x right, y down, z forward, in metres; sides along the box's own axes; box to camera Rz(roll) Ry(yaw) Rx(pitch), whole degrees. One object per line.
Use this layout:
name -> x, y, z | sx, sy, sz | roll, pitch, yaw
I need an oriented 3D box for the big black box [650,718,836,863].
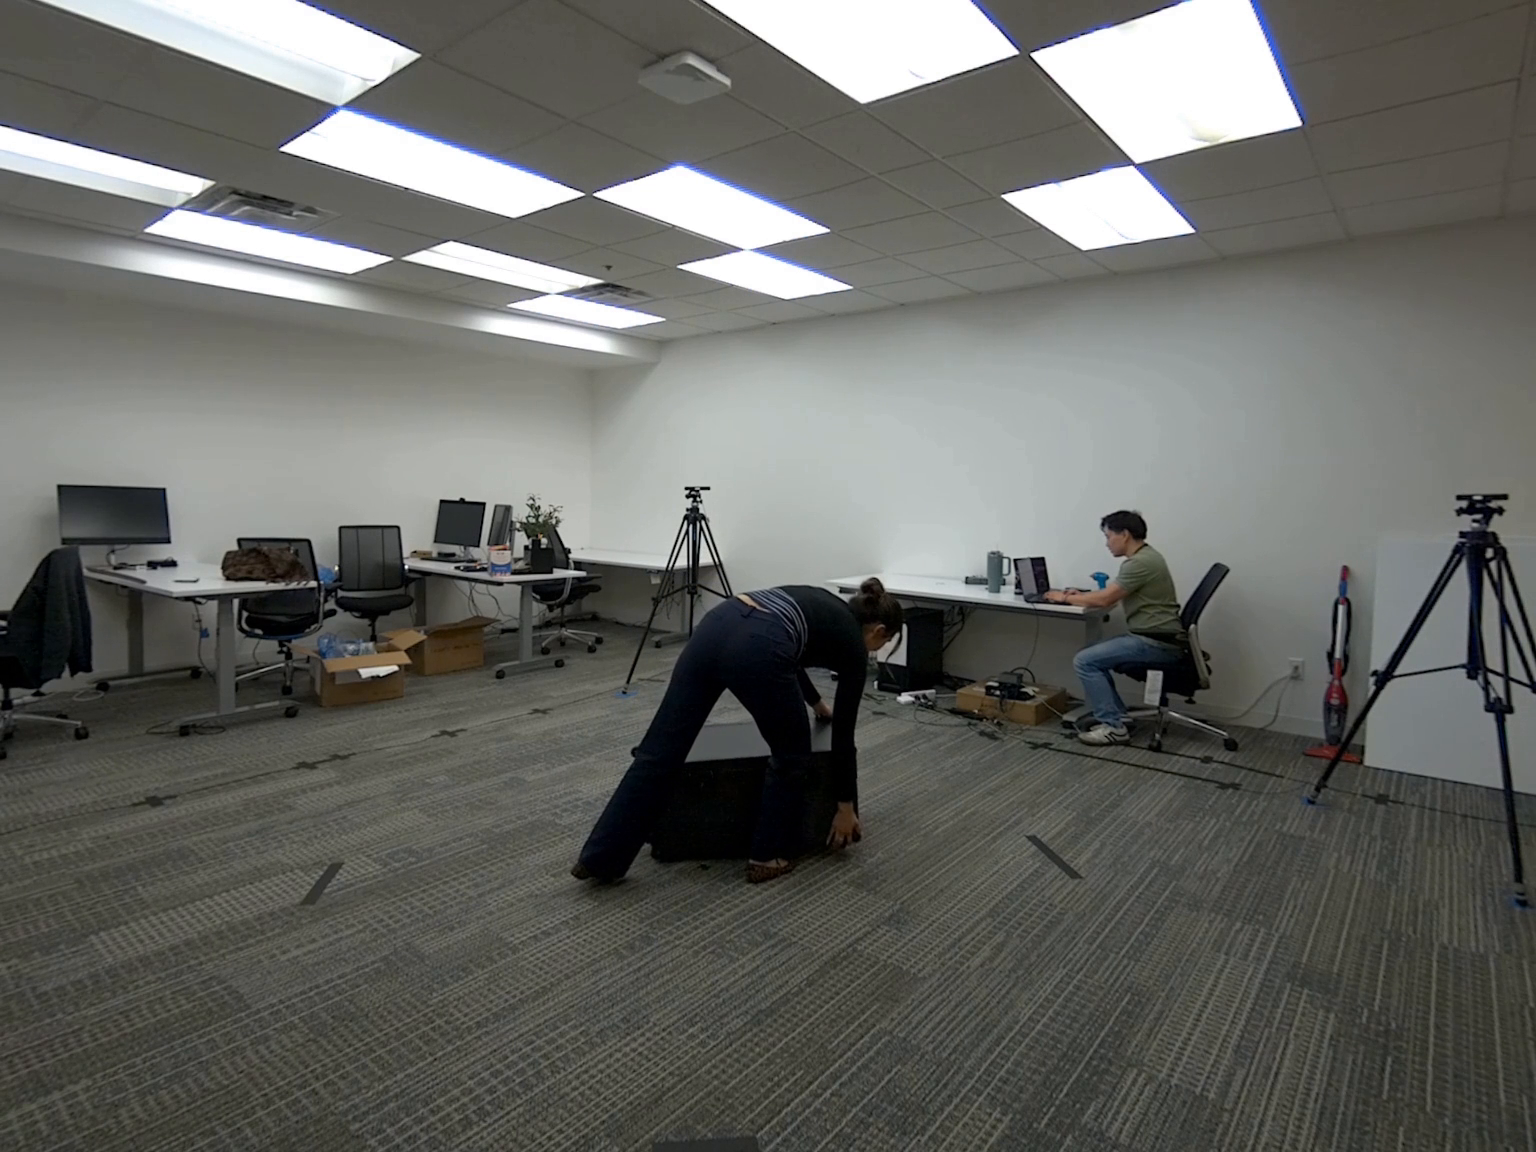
big black box -> -0.122, 0.841, 3.389 | 0.858, 0.394, 0.527 | -6, 6, -5
